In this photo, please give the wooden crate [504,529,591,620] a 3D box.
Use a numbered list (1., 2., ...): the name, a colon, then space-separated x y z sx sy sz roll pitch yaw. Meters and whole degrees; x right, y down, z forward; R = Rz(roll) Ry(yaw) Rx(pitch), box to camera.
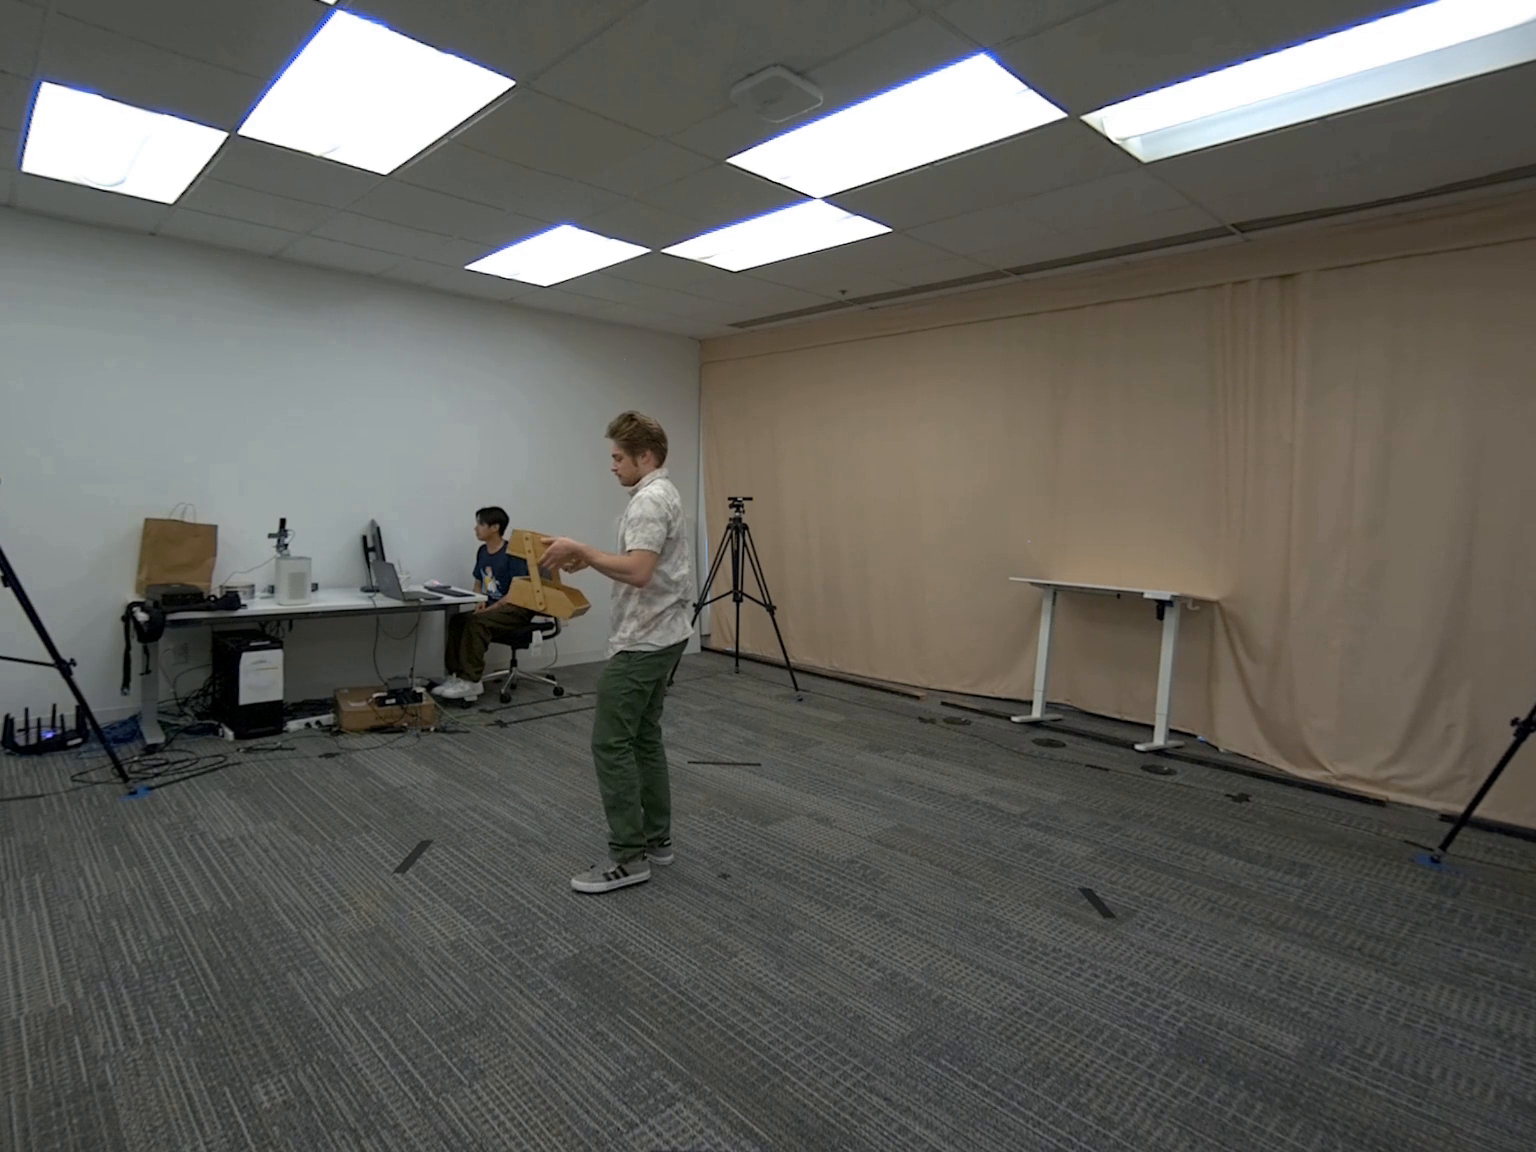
1. wooden crate: -0.803 -0.009 3.157 0.302 0.273 0.324 16 0 0
